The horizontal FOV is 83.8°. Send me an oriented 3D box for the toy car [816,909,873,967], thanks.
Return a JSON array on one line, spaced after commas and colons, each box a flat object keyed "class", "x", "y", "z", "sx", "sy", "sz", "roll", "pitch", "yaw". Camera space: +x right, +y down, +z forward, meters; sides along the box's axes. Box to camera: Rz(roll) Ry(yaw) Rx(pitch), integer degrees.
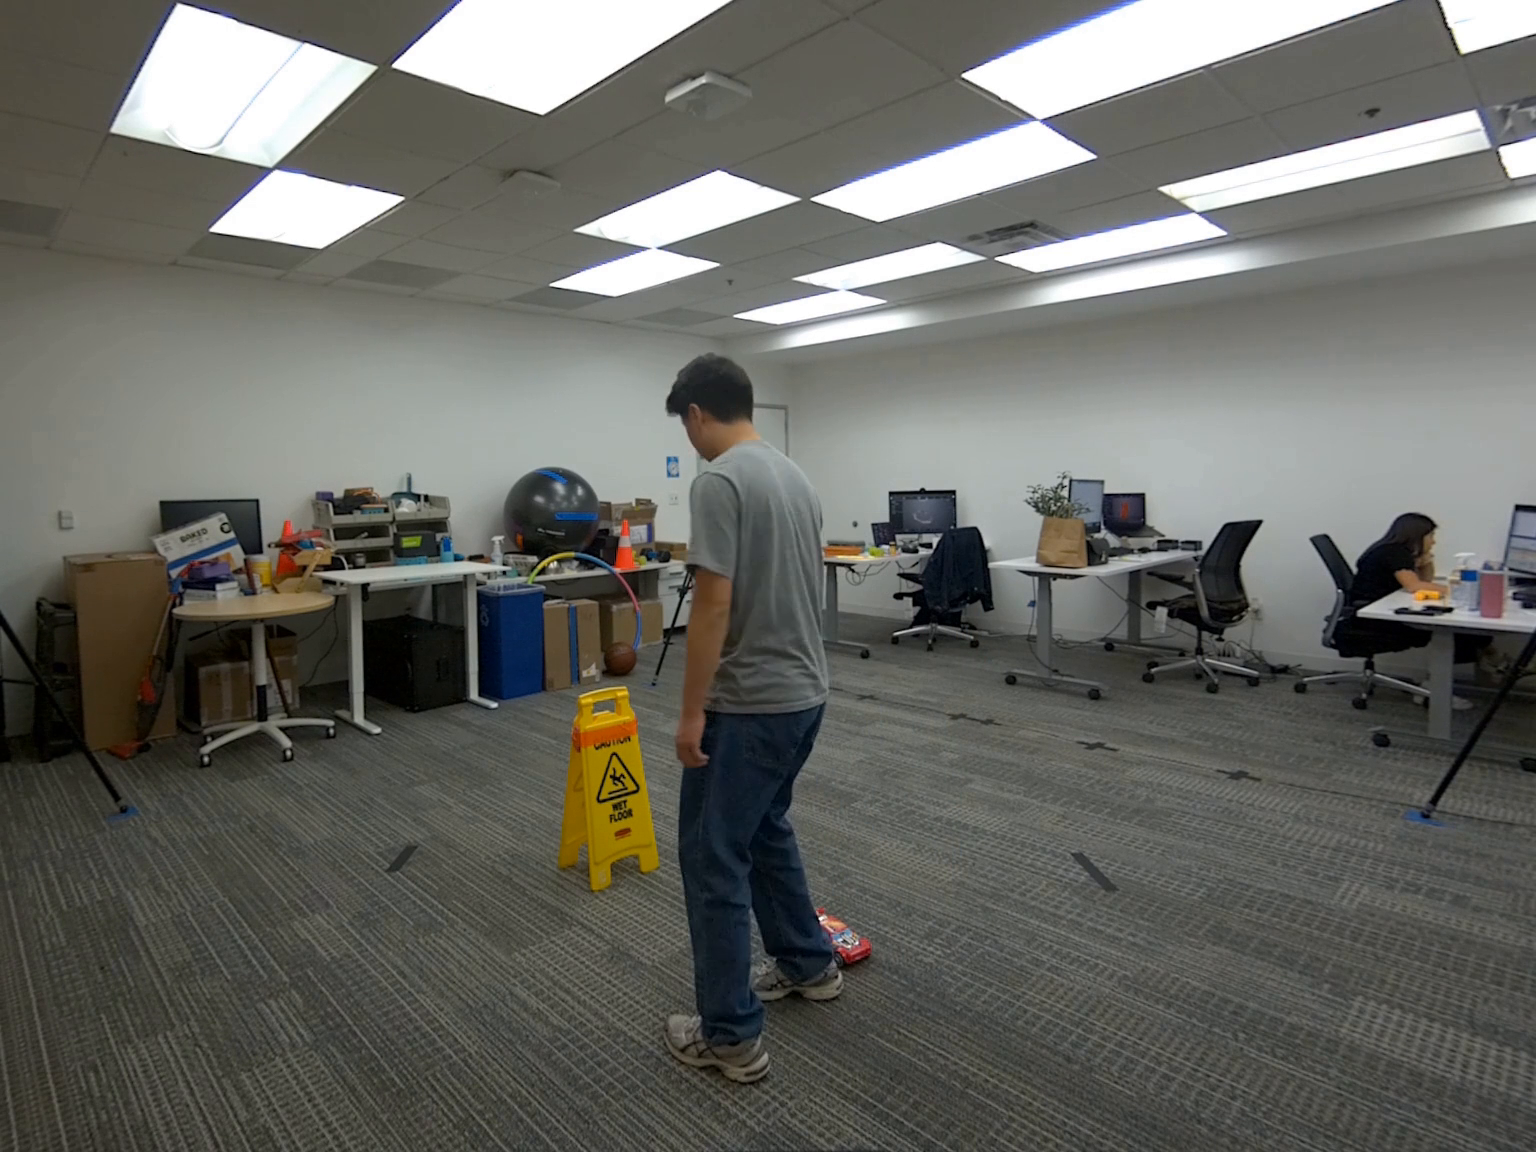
[{"class": "toy car", "x": 0.196, "y": 1.075, "z": 2.543, "sx": 0.127, "sy": 0.082, "sz": 0.264, "roll": -6, "pitch": 18, "yaw": -34}]
